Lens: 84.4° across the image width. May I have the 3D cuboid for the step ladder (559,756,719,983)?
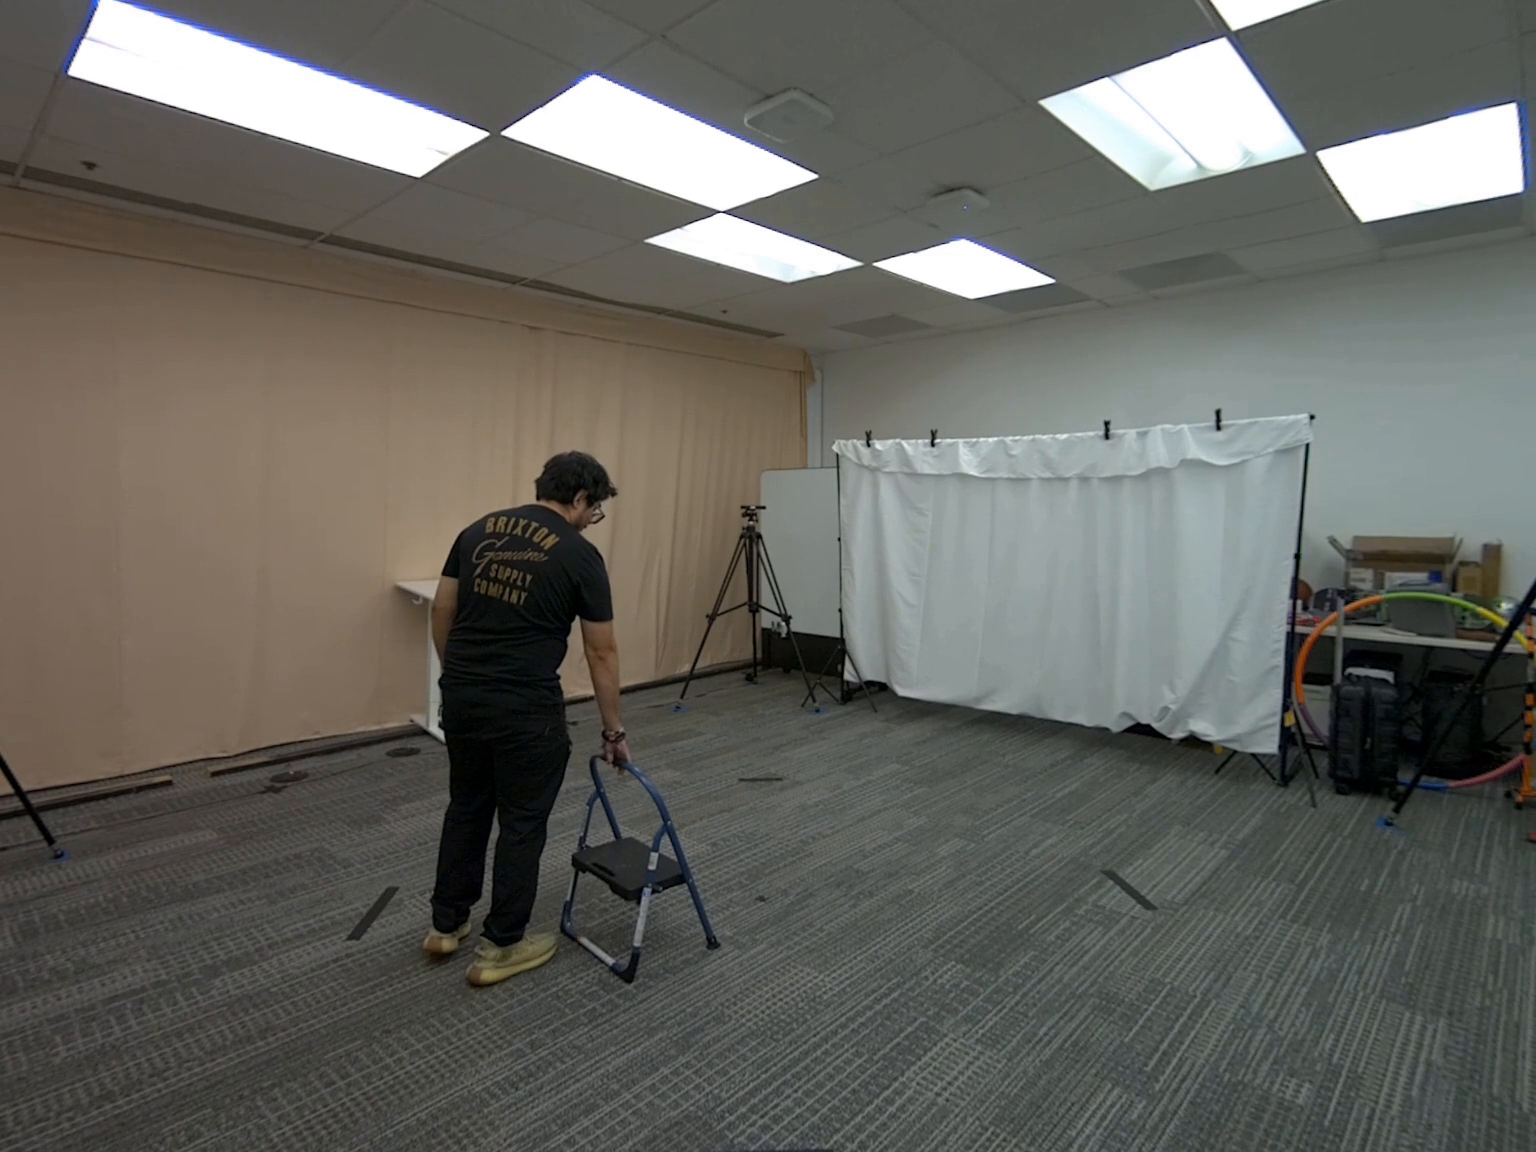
[{"bbox_3d":[-0.423,0.871,2.701,0.338,0.605,0.445,-3,4,-43],"label":"step ladder"}]
